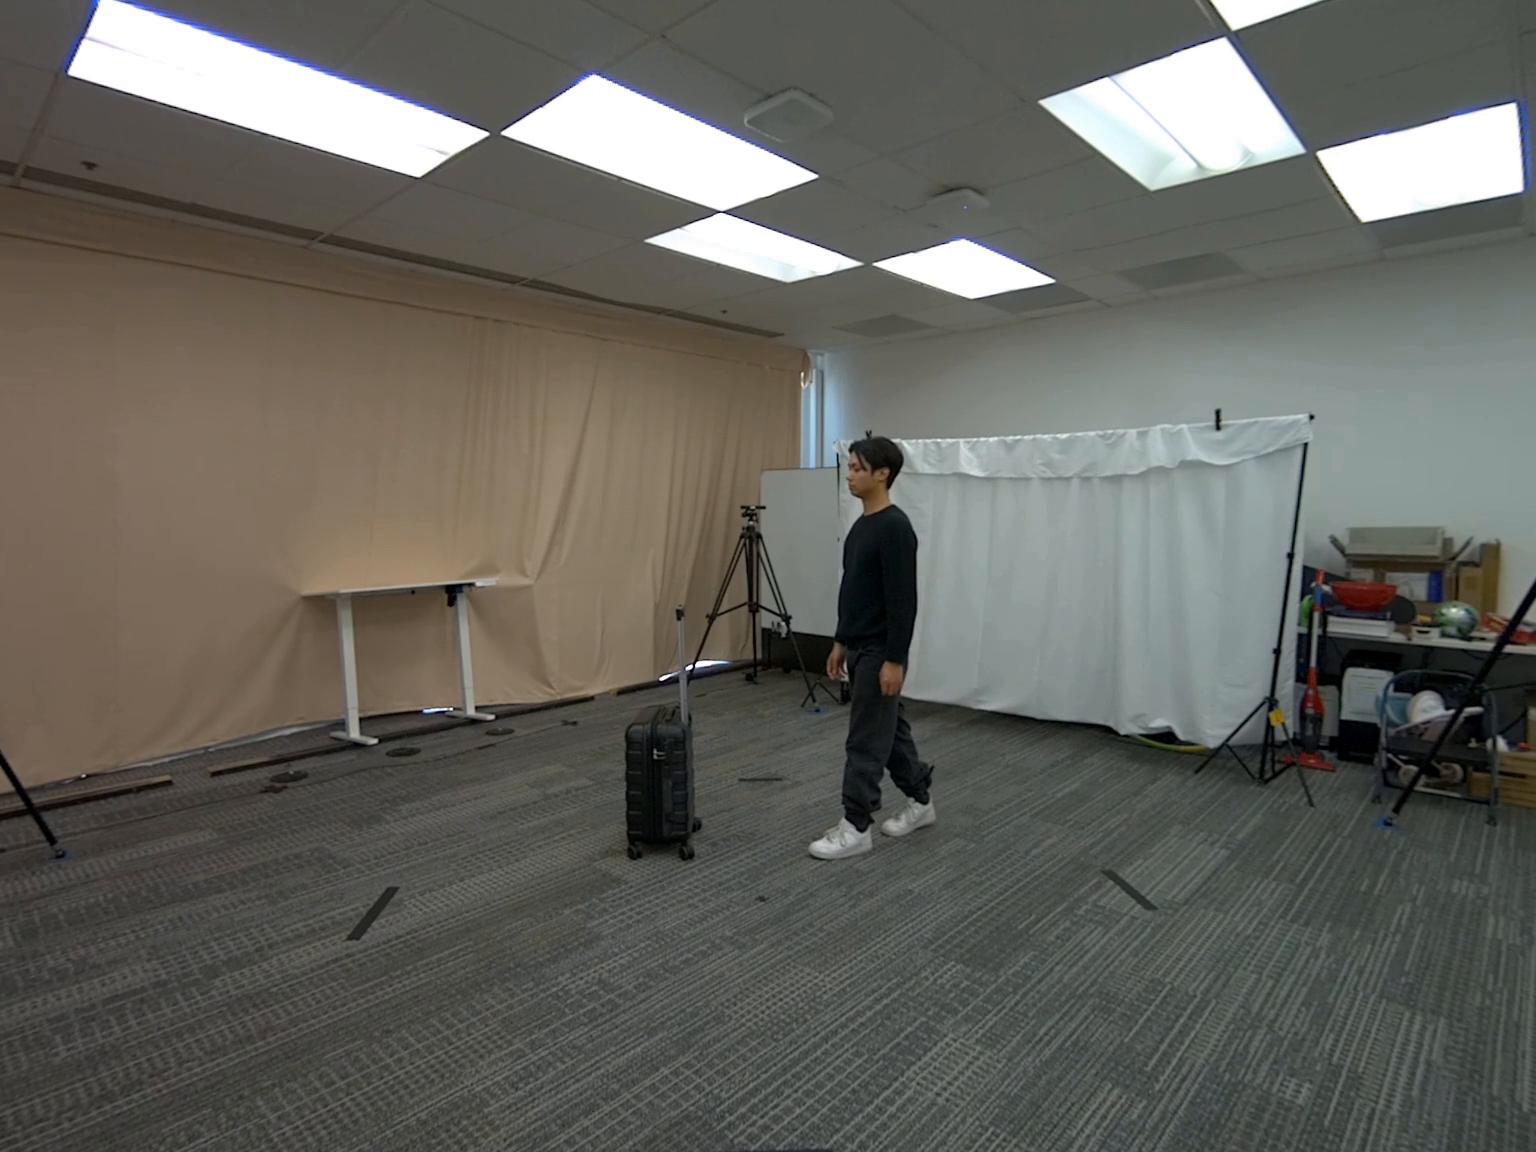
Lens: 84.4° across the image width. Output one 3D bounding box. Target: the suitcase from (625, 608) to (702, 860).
[{"bbox_3d":[-0.453,0.635,3.474,0.258,0.978,0.383,-4,1,2],"label":"suitcase"}]
